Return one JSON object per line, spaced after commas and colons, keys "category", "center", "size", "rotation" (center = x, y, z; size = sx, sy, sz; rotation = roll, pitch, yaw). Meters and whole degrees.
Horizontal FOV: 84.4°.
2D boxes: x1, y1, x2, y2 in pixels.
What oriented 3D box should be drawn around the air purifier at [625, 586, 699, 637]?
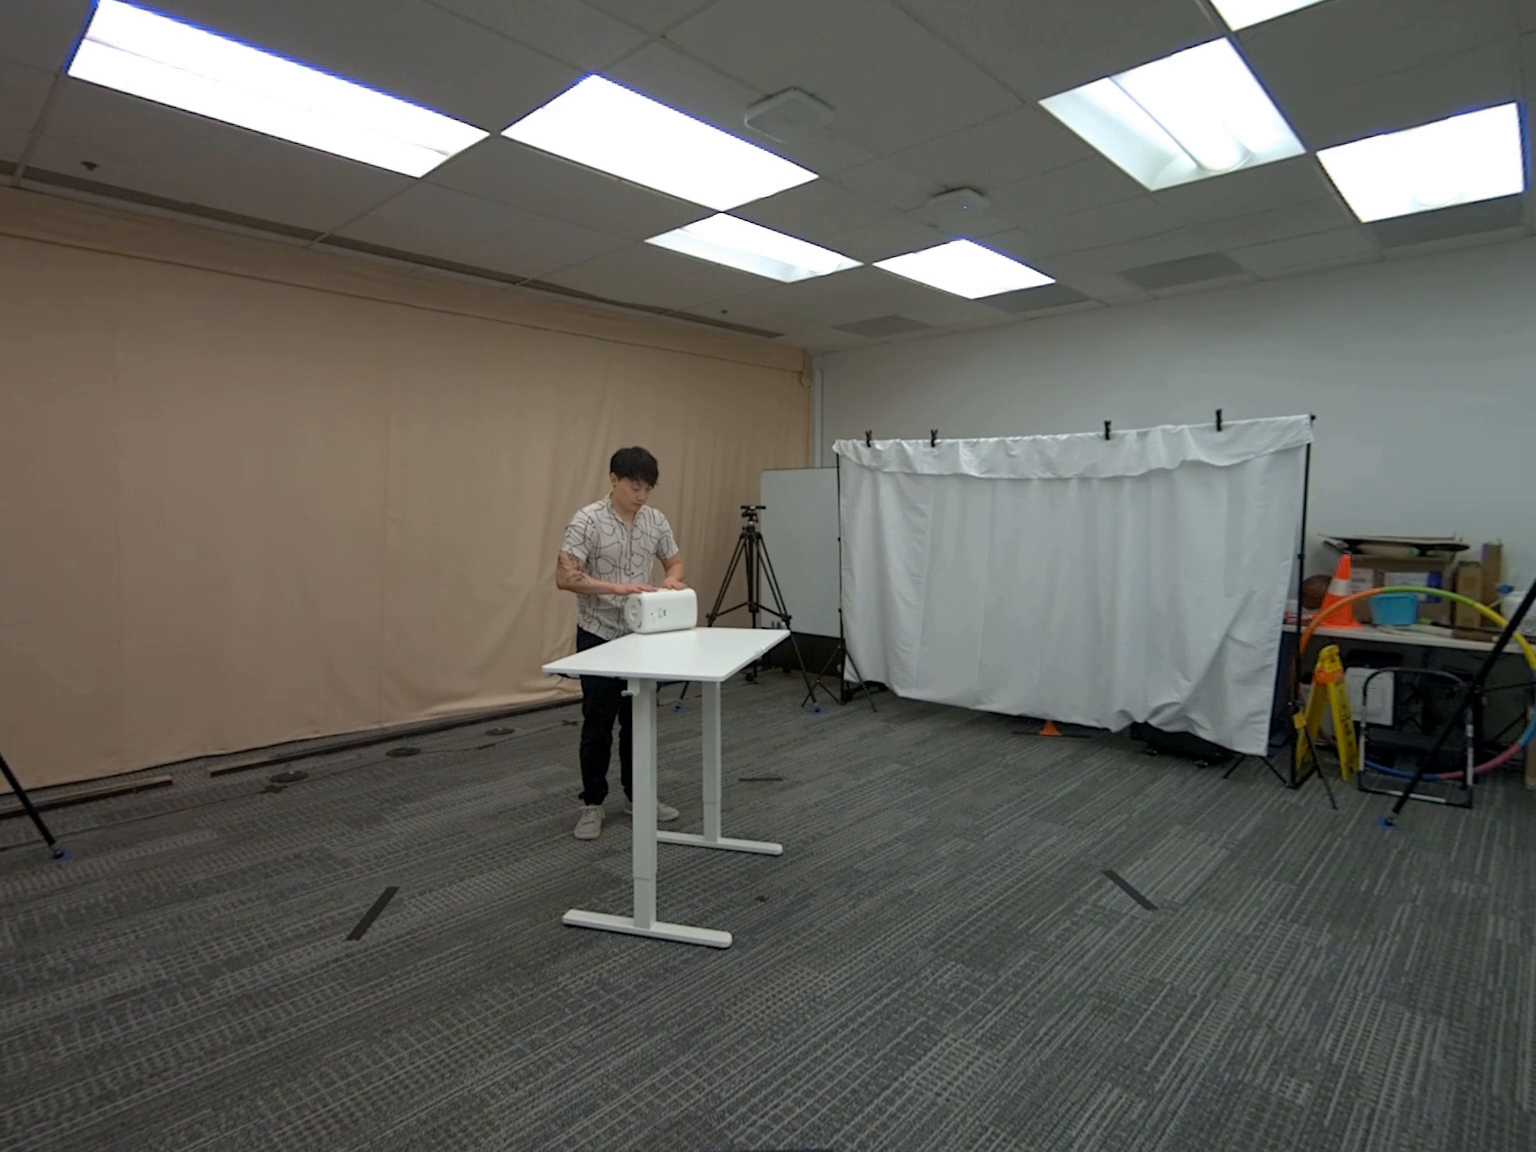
{"category": "air purifier", "center": [-0.446, 0.137, 3.473], "size": [0.257, 0.170, 0.177], "rotation": [-4, 6, -41]}
